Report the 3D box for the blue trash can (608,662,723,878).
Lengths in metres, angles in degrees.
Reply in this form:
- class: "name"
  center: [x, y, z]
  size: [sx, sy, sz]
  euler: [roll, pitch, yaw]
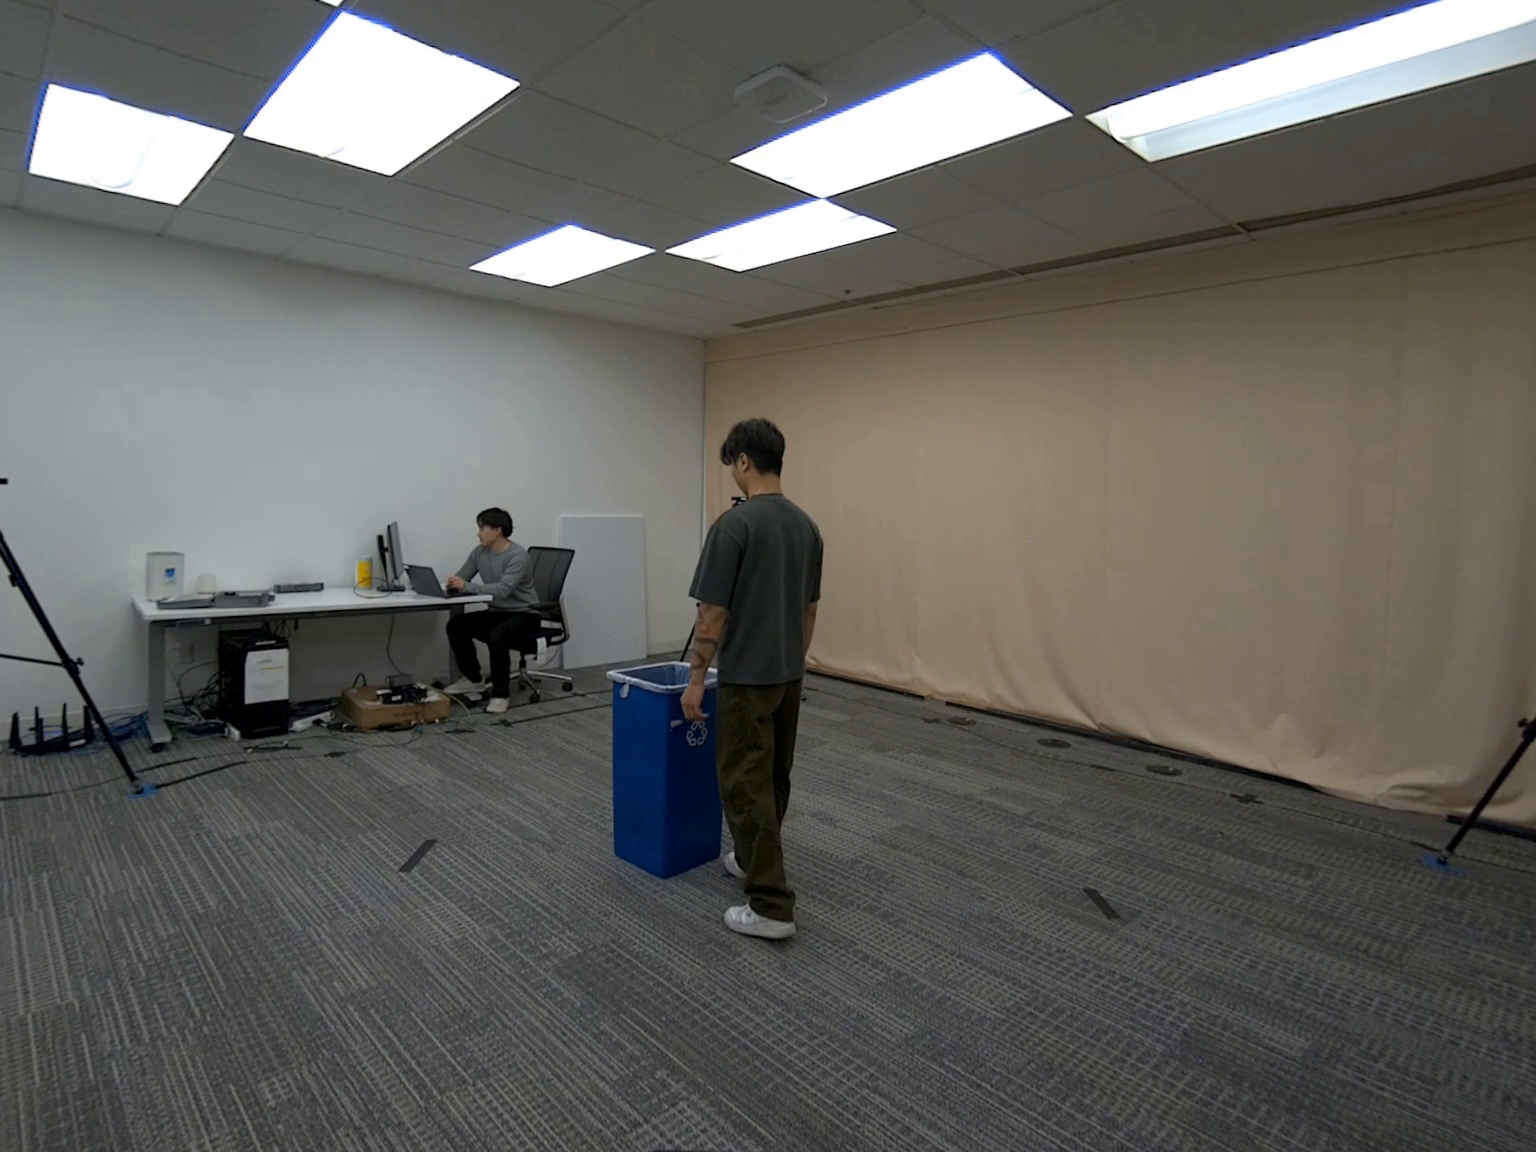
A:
- class: "blue trash can"
  center: [-0.396, 0.730, 3.258]
  size: [0.384, 0.712, 0.369]
  euler: [5, 4, 42]
